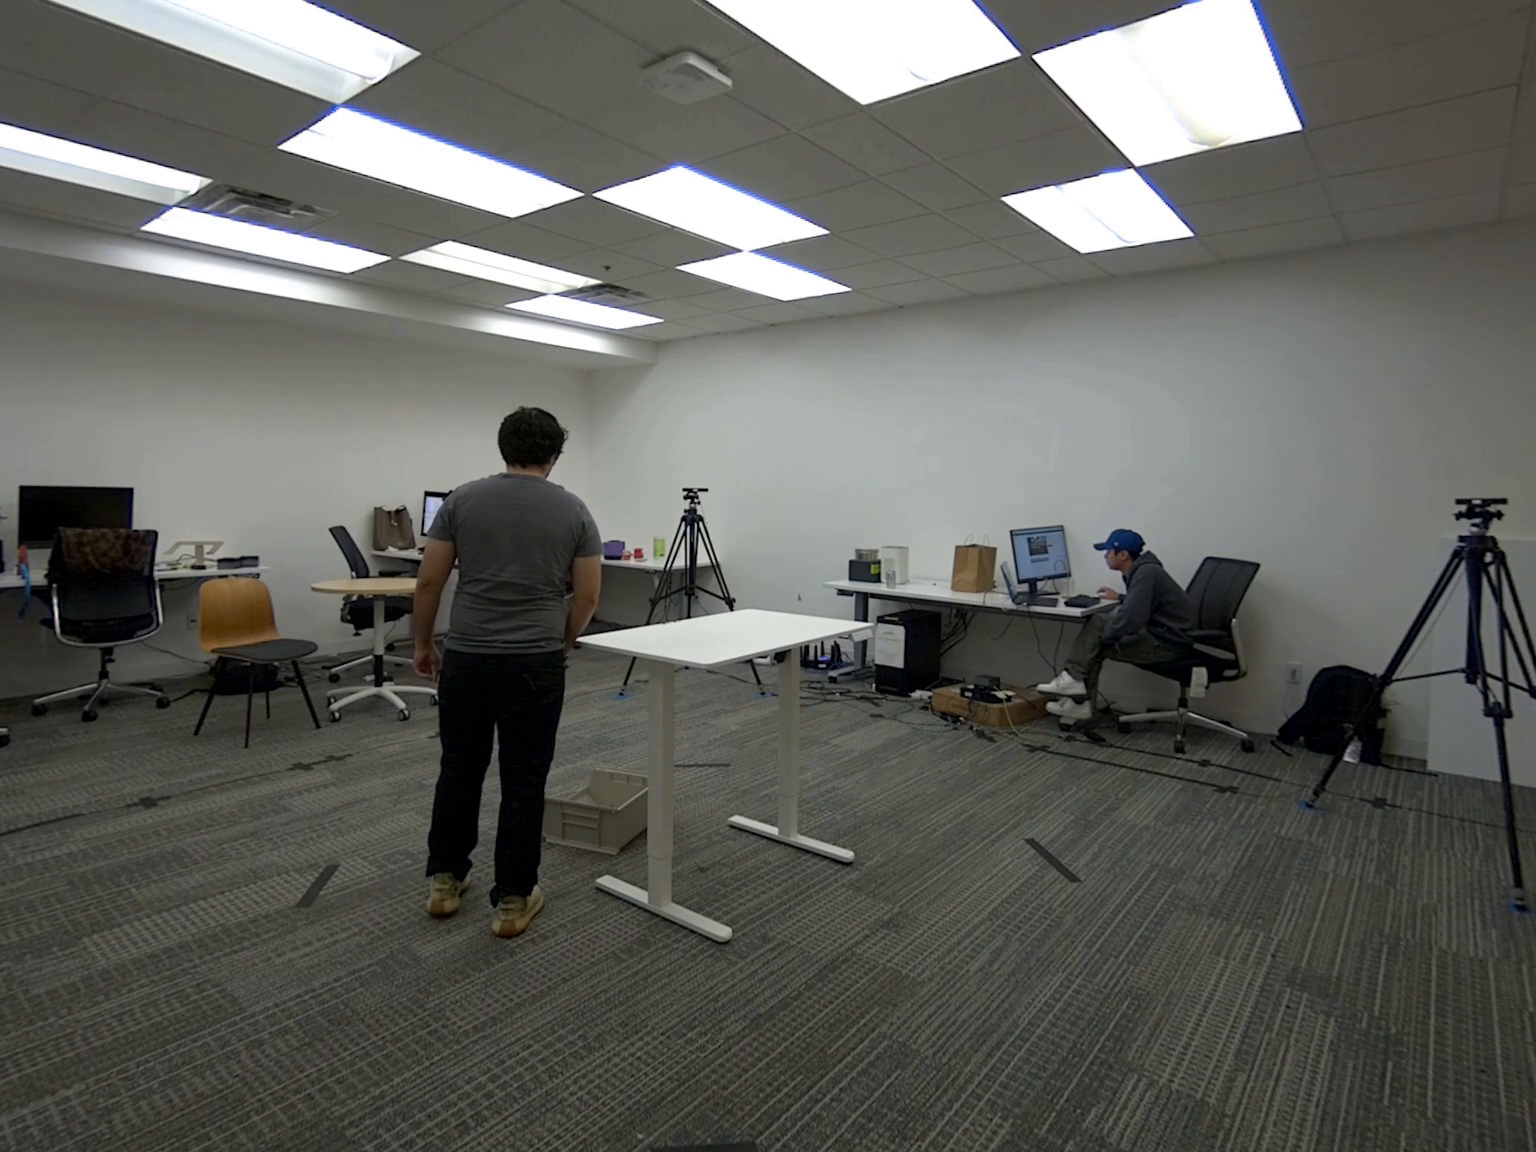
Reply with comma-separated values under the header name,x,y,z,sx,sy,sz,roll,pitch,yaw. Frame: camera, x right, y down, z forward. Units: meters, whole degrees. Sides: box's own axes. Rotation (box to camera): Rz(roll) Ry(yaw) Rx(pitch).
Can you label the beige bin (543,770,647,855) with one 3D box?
name,x,y,z,sx,sy,sz,roll,pitch,yaw
beige bin,-0.689,0.941,3.460,0.385,0.188,0.415,3,5,19
